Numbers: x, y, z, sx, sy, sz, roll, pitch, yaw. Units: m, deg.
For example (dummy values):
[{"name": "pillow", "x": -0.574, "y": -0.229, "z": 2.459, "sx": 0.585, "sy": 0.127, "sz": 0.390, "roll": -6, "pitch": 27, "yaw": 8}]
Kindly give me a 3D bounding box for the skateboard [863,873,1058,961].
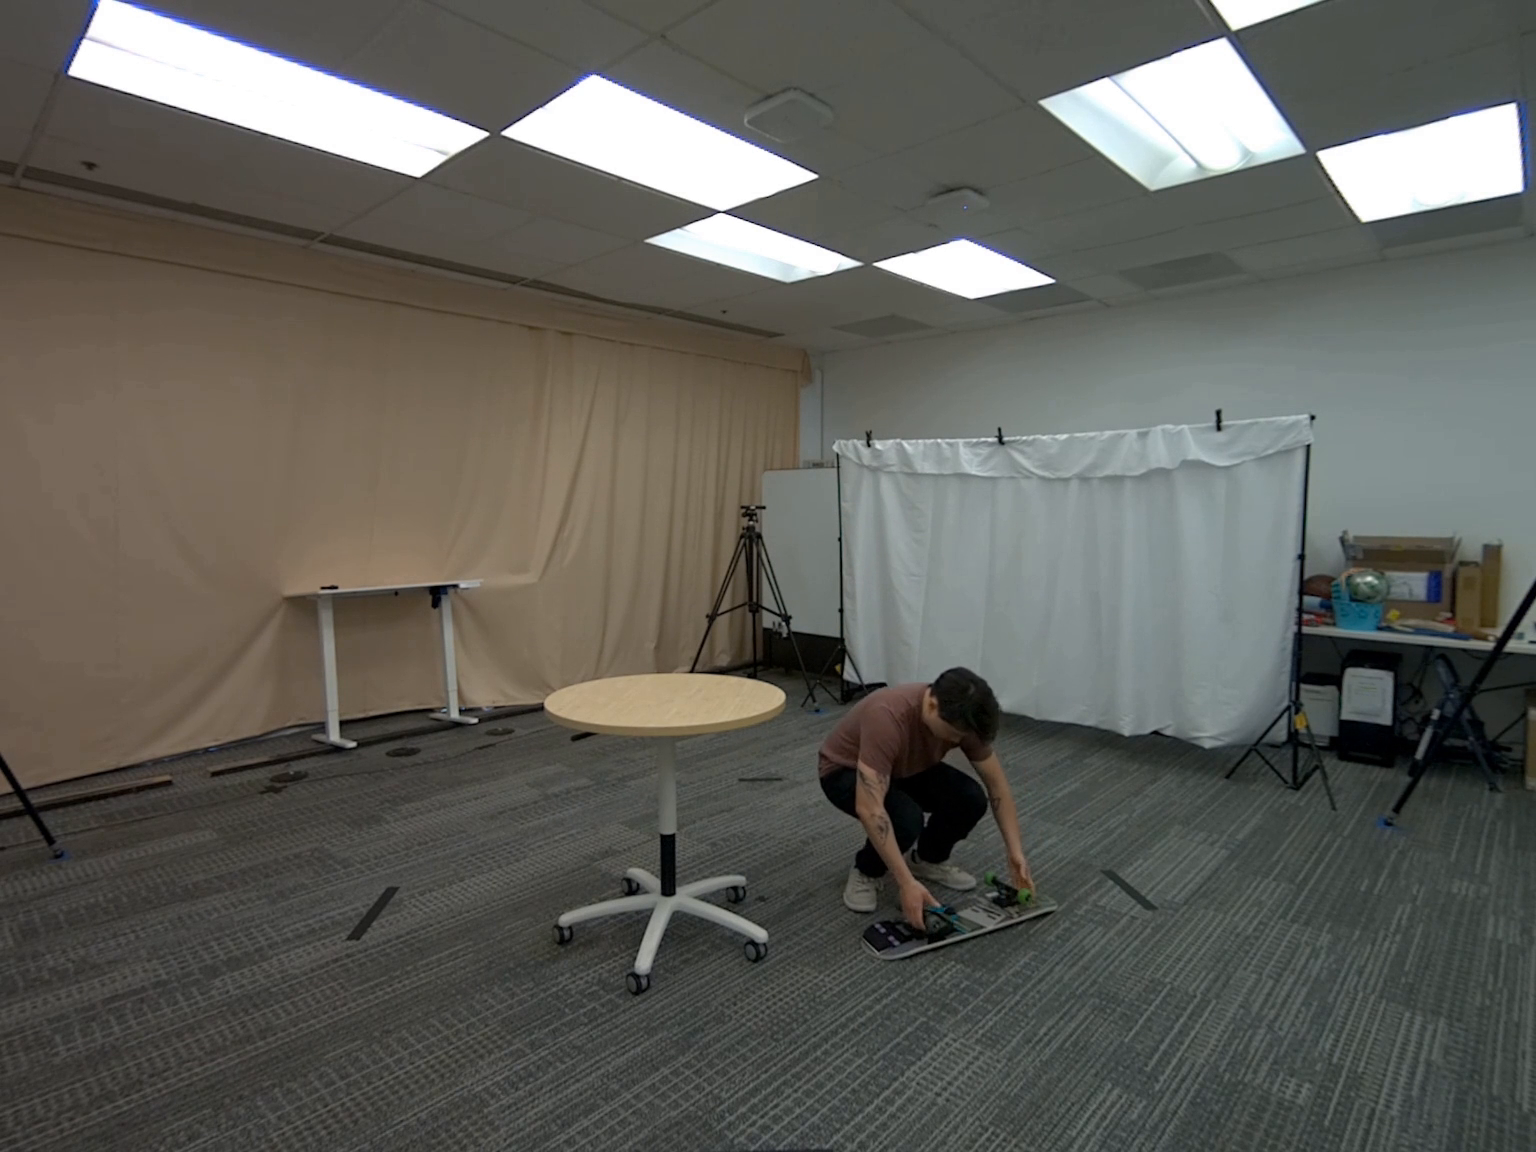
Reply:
[{"name": "skateboard", "x": 0.649, "y": 1.100, "z": 2.796, "sx": 0.765, "sy": 0.110, "sz": 0.199, "roll": -2, "pitch": 5, "yaw": -28}]
